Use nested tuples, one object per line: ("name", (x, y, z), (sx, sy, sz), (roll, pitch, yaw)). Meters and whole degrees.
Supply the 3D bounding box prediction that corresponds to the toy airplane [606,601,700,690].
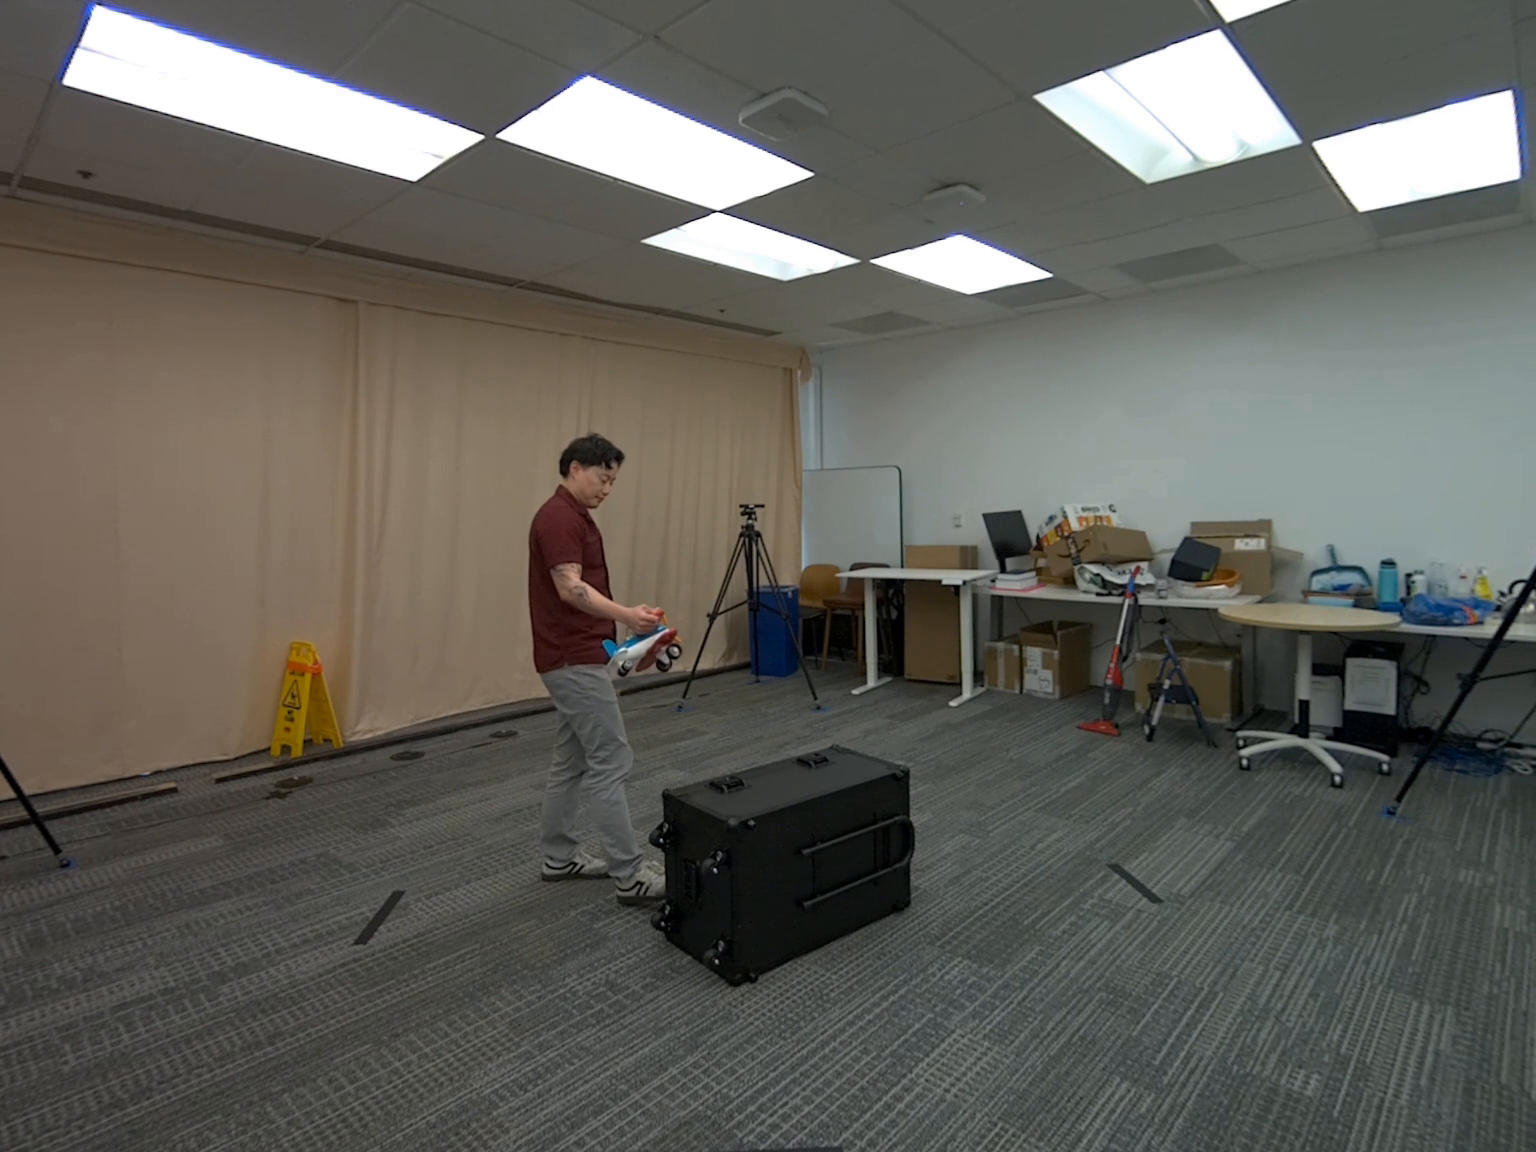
("toy airplane", (-0.420, 0.232, 2.787), (0.253, 0.160, 0.251), (-34, -24, 18))
